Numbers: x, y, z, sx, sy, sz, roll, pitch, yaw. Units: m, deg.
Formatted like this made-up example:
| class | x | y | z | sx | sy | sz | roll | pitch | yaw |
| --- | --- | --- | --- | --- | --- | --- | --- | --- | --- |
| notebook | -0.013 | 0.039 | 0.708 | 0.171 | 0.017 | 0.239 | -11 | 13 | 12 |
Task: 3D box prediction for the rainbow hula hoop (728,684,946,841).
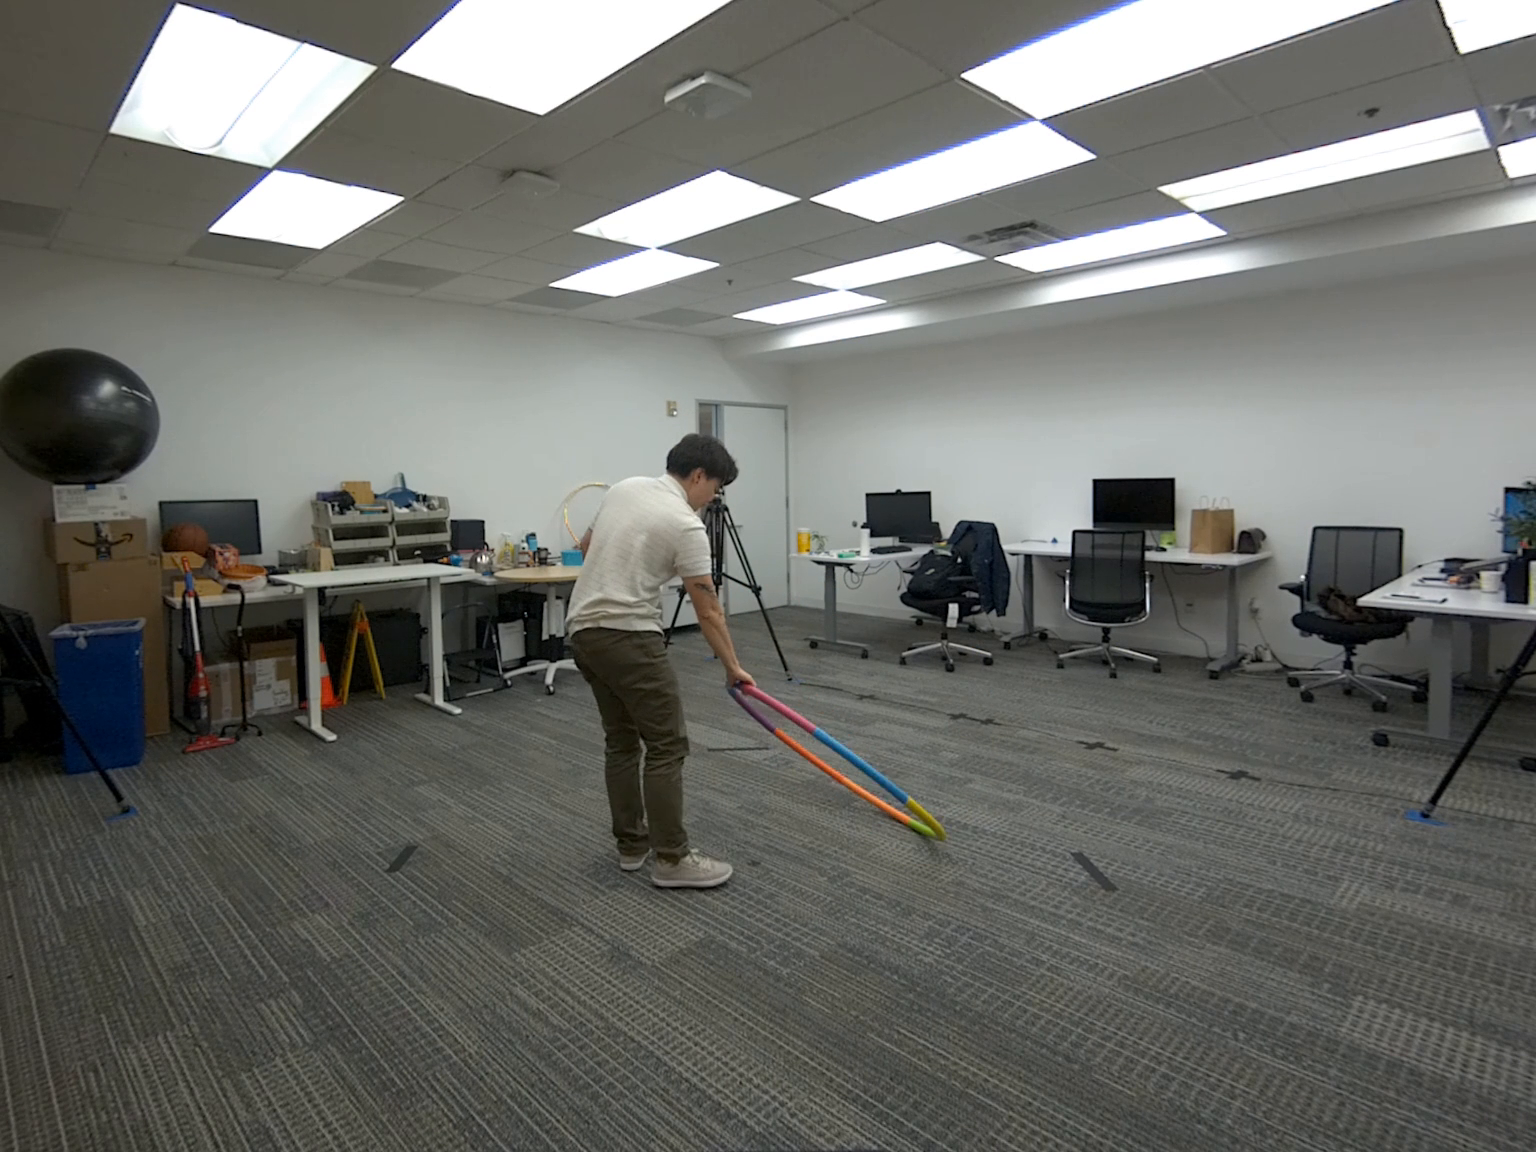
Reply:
| class | x | y | z | sx | sy | sz | roll | pitch | yaw |
| --- | --- | --- | --- | --- | --- | --- | --- | --- | --- |
| rainbow hula hoop | 0.245 | 0.691 | 3.258 | 0.989 | 0.035 | 0.967 | 35 | -12 | 7 |
